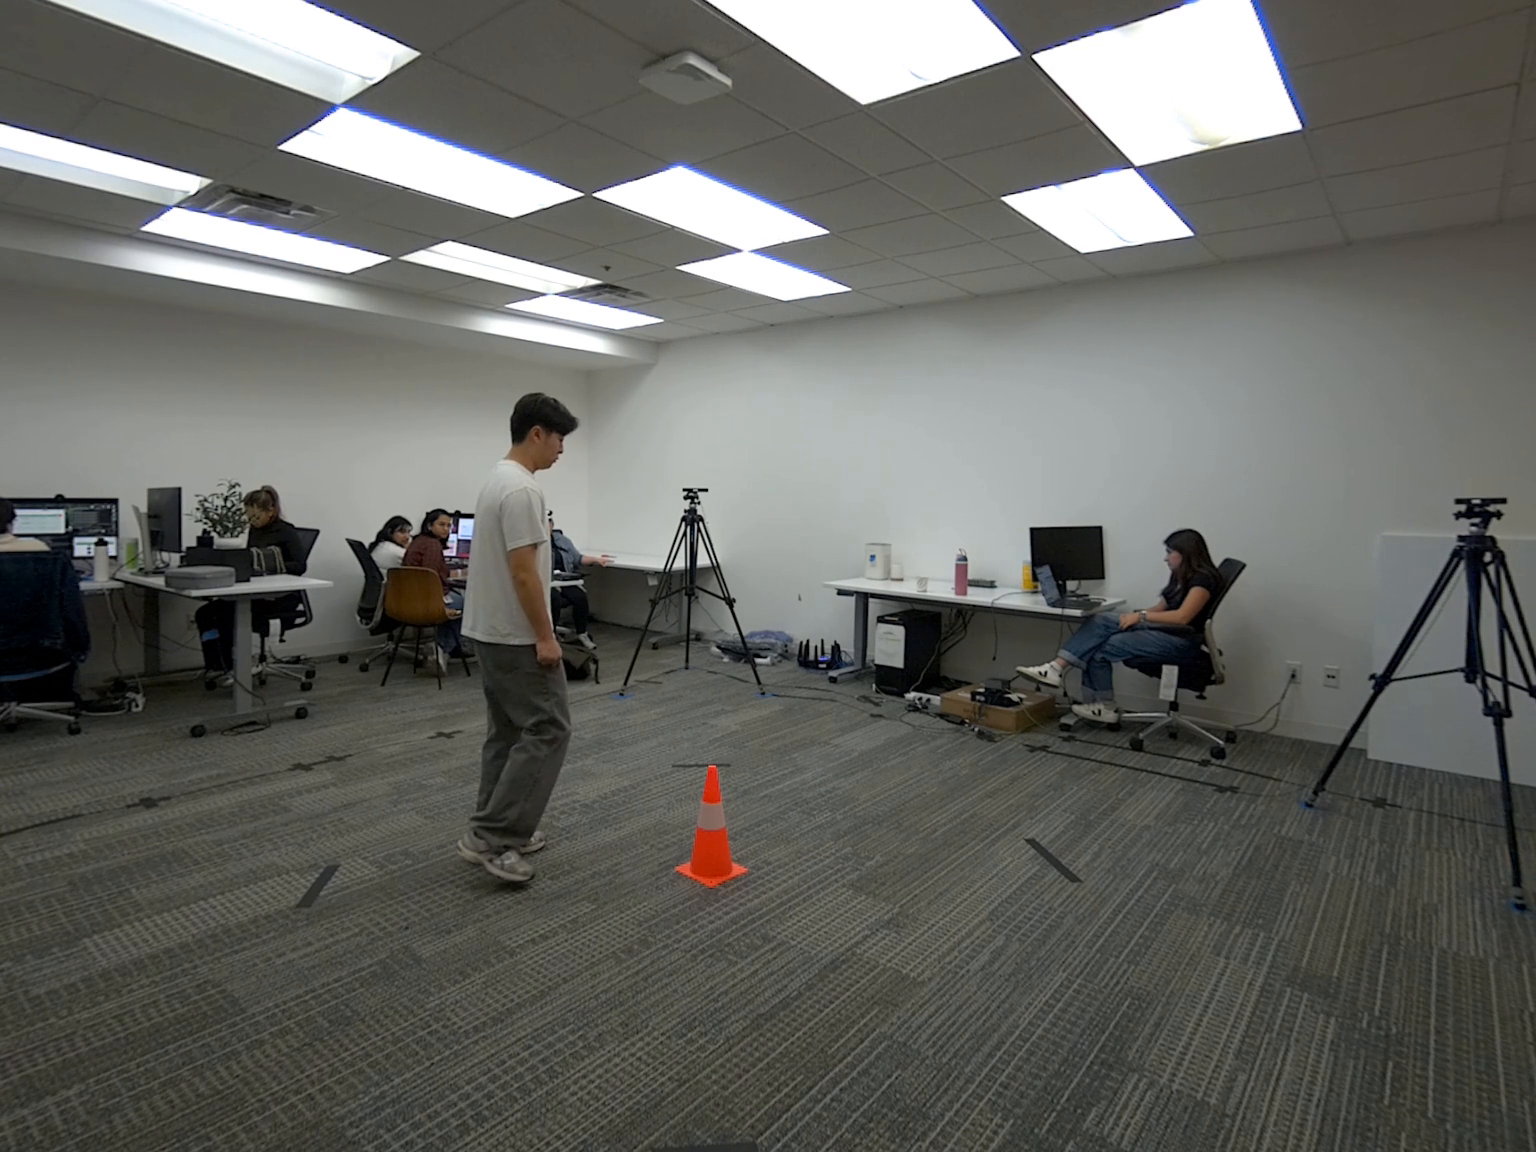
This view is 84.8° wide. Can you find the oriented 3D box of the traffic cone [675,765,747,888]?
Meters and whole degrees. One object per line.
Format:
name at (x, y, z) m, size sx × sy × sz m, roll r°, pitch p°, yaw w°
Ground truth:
traffic cone at (-0.212, 0.884, 3.102) m, size 0.210 × 0.383 × 0.199 m, roll 2°, pitch 3°, yaw 40°
